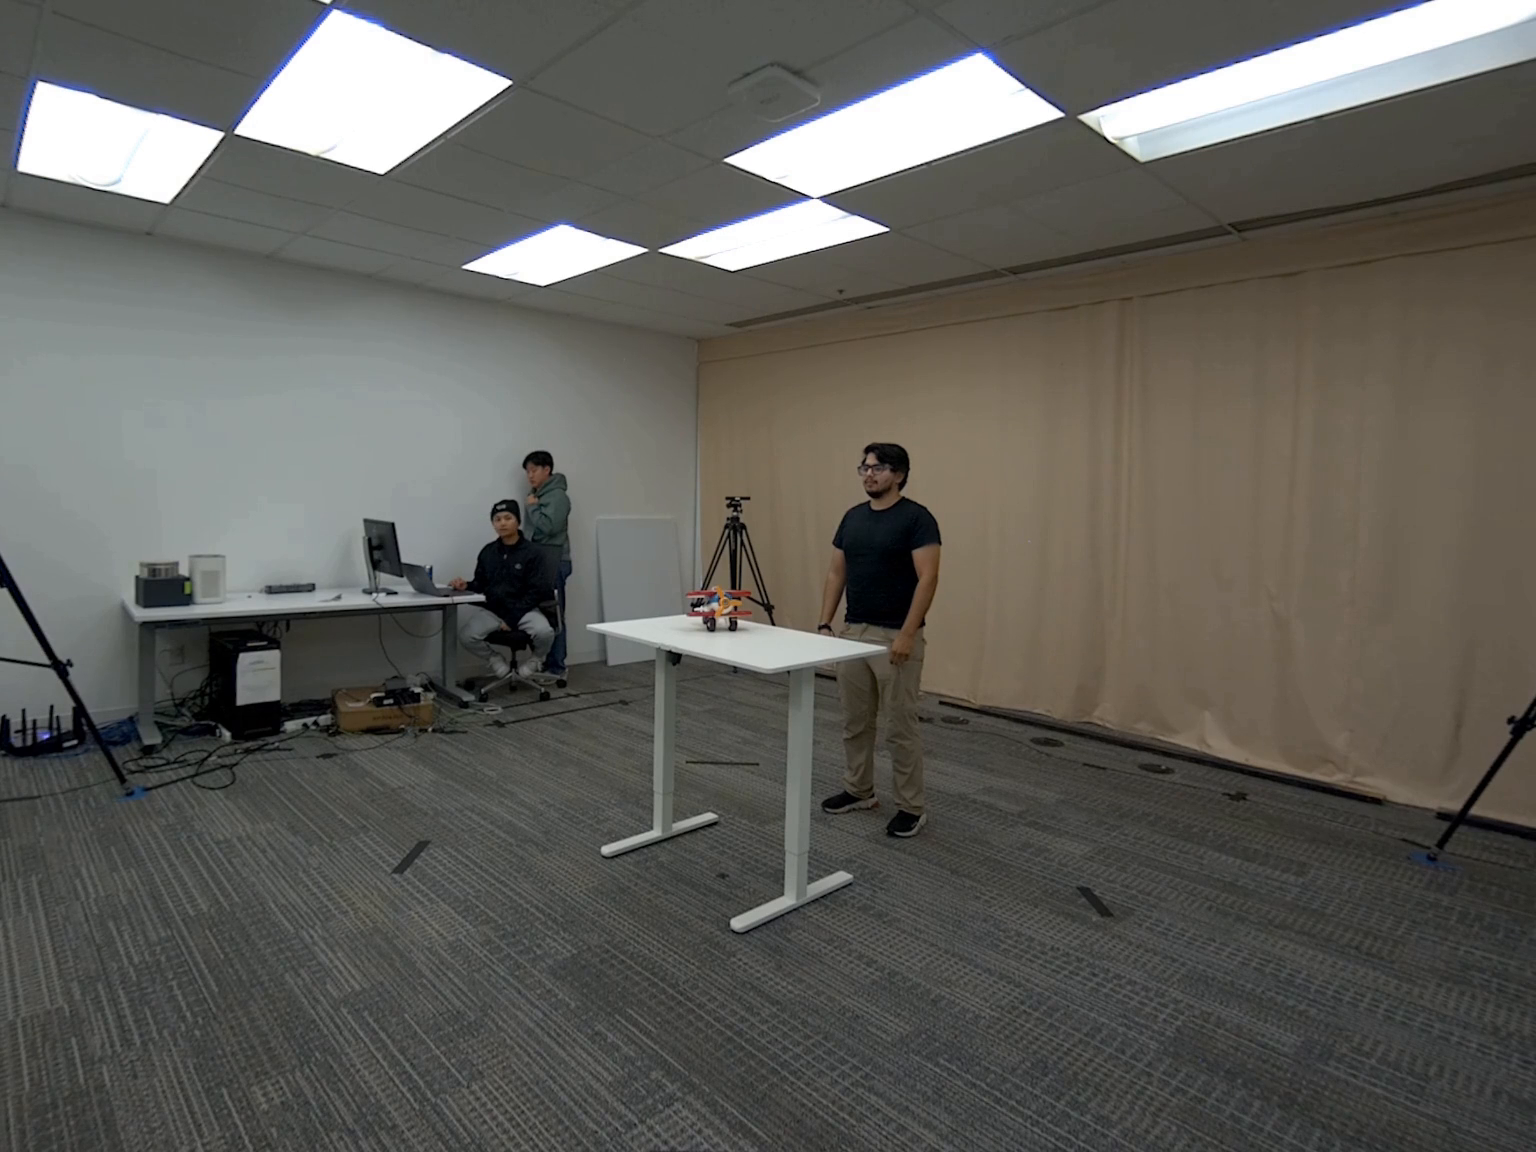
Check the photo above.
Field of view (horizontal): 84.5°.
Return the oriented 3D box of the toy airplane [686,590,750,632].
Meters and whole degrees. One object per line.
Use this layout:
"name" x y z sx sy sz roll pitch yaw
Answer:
"toy airplane" -0.232 0.126 3.282 0.266 0.156 0.245 6 6 44
